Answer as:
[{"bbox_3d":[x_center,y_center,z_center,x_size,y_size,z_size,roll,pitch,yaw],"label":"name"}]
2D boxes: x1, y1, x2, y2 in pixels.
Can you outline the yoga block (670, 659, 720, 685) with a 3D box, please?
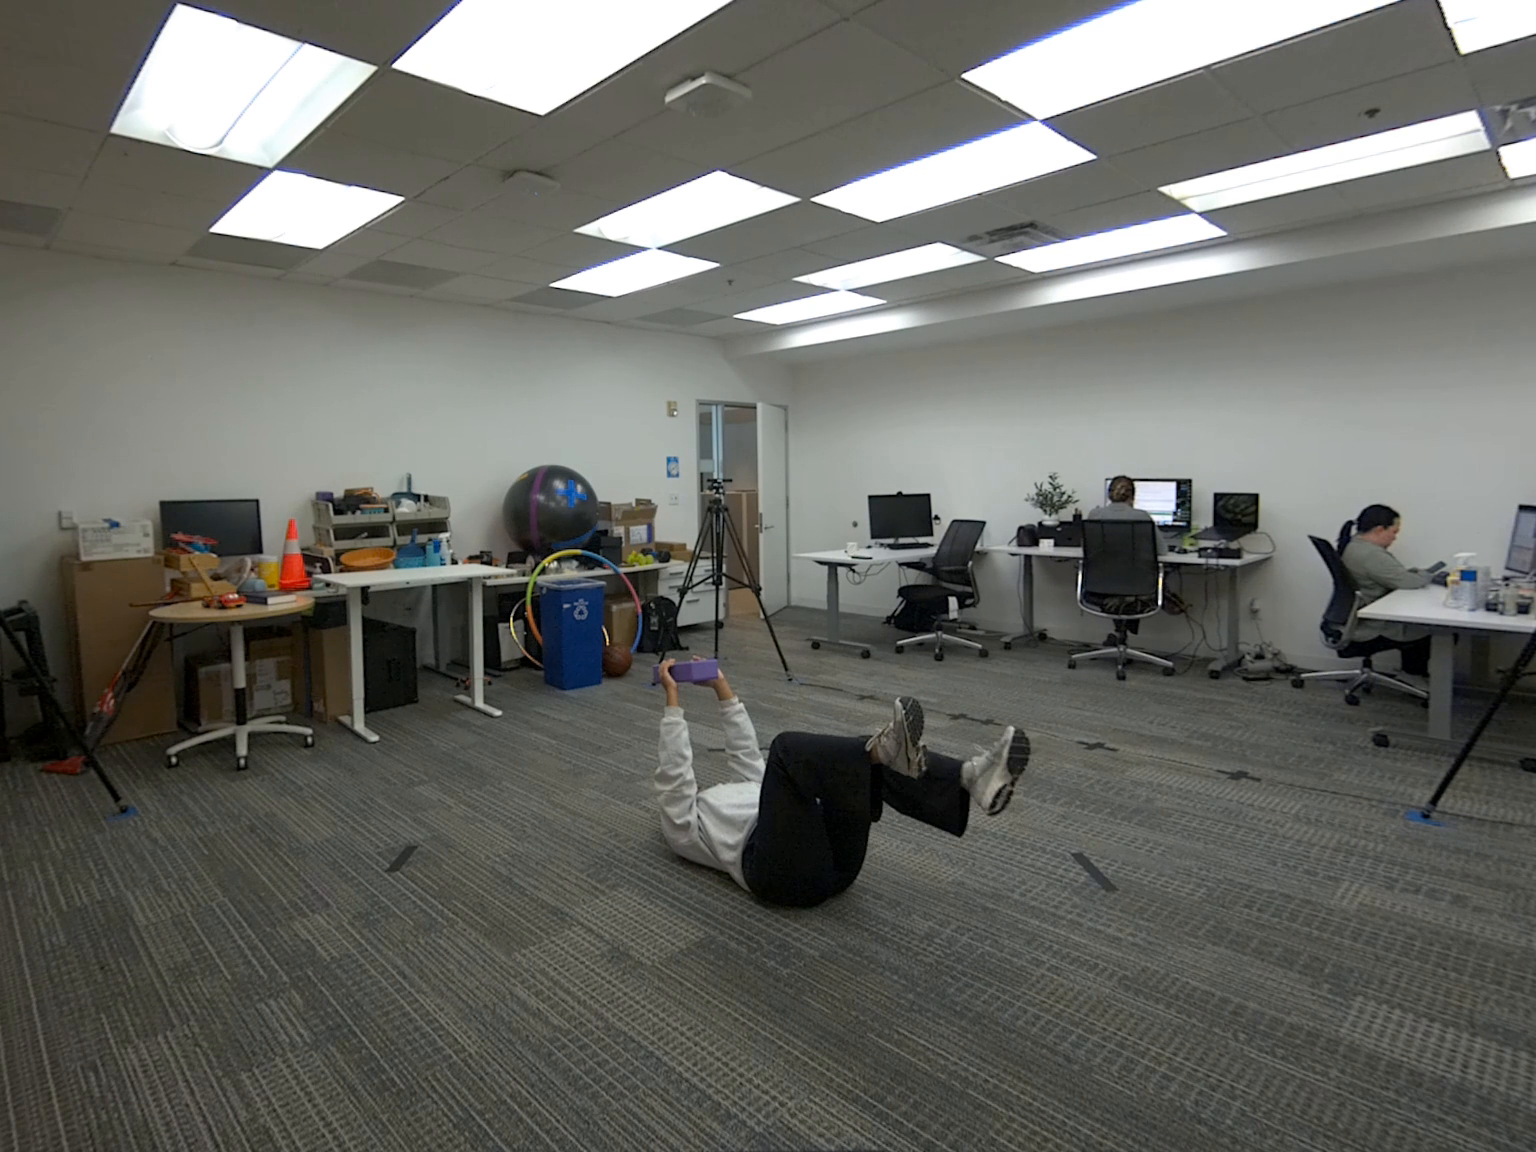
[{"bbox_3d":[-0.325,0.373,3.329,0.235,0.077,0.144,-10,-8,43],"label":"yoga block"}]
